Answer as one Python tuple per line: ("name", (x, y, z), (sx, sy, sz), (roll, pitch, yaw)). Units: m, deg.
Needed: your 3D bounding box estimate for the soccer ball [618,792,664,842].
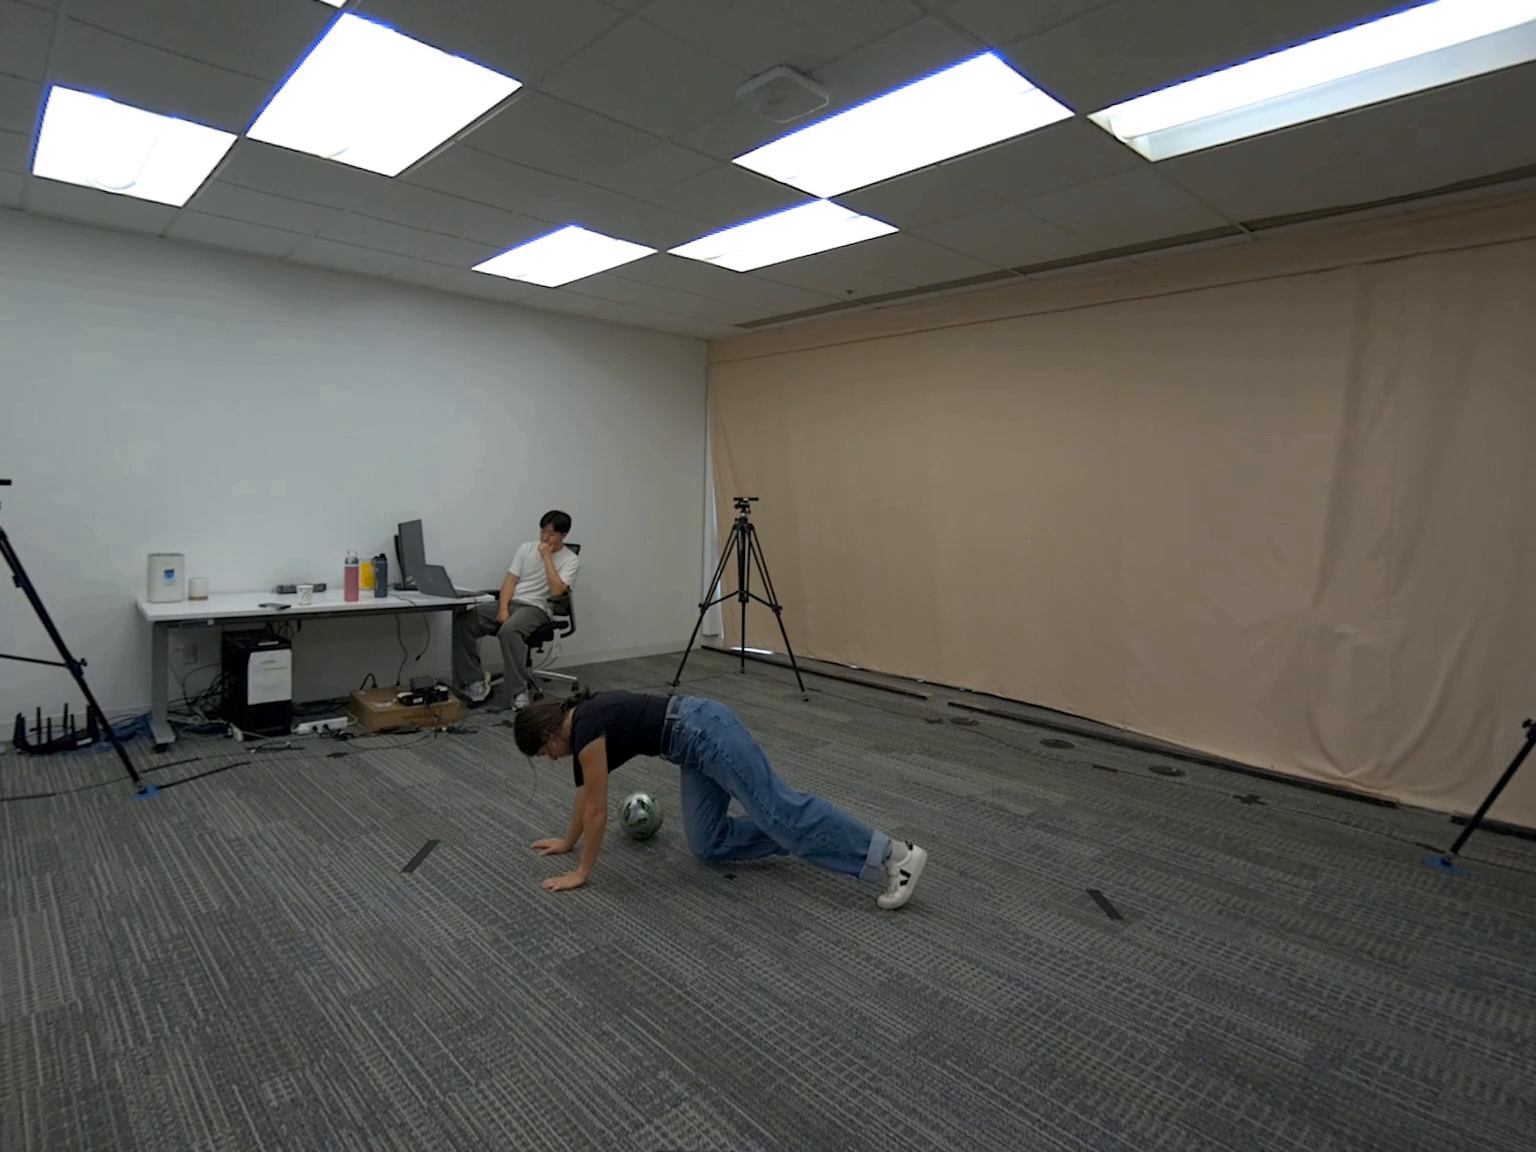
("soccer ball", (-0.524, 0.978, 3.431), (0.187, 0.187, 0.188), (1, 4, -1))
